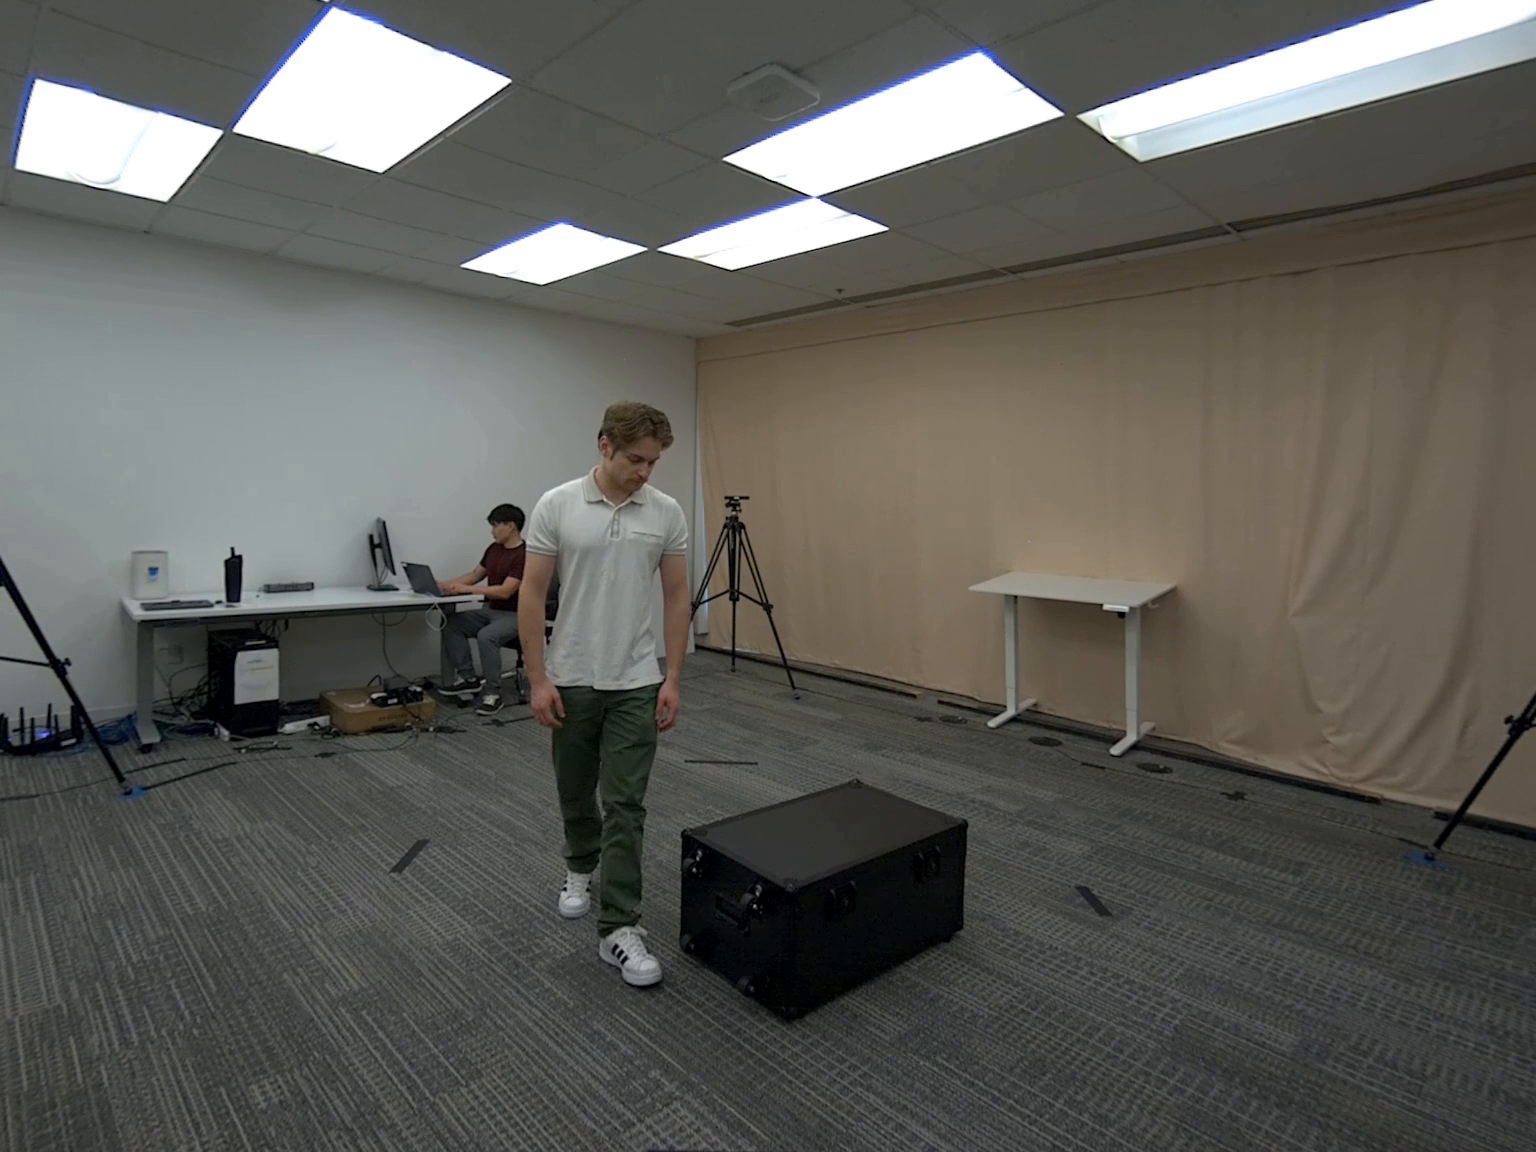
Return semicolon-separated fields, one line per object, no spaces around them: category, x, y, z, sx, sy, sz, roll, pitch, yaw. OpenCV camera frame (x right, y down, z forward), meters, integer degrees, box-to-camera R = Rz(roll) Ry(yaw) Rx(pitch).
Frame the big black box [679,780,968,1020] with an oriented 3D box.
big black box;0.152;0.967;2.611;0.842;0.395;0.535;-2;6;-41
